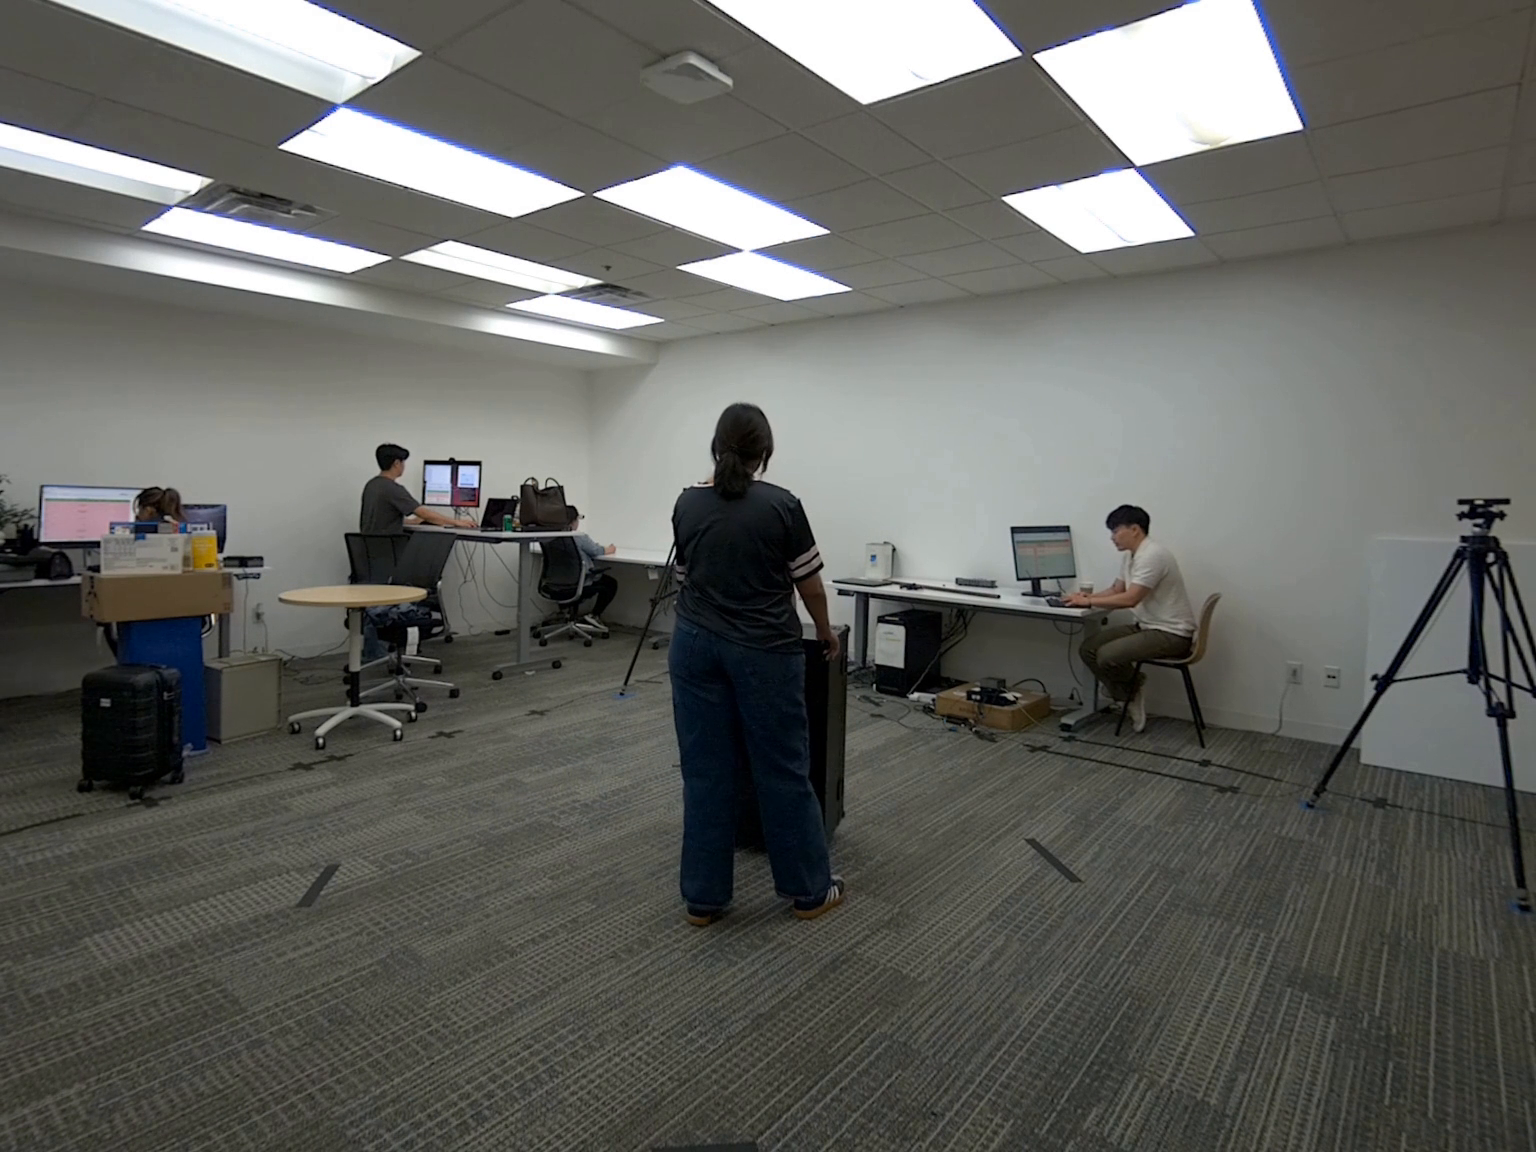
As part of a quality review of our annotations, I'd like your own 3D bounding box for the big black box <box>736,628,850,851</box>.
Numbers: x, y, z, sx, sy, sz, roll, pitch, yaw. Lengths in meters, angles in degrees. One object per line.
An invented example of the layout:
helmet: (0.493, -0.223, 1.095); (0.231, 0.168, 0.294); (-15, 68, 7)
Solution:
big black box: (0.034, 0.629, 3.347); (0.534, 0.865, 0.379); (2, 4, 18)
